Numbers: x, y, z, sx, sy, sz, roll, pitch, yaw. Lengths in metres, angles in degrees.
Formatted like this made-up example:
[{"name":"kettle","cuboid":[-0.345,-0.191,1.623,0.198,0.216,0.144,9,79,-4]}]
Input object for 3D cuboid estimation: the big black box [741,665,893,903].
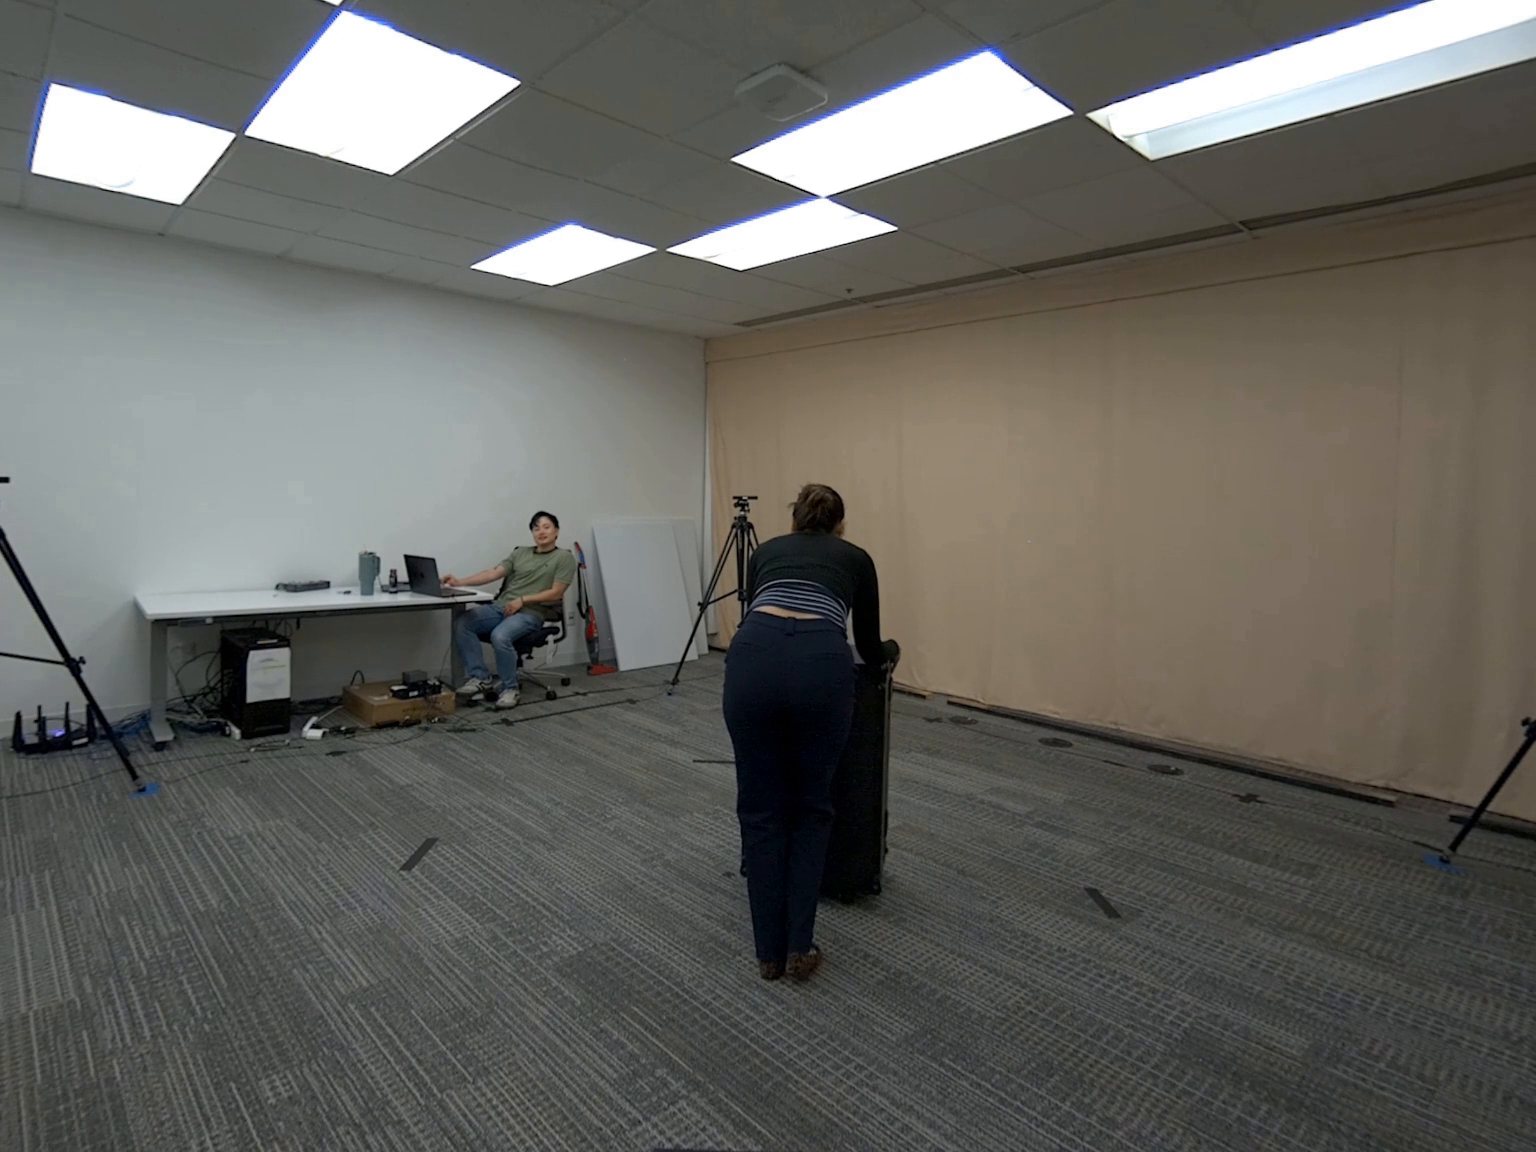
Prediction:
[{"name":"big black box","cuboid":[0.183,0.697,3.013,0.527,0.858,0.393,2,5,14]}]
